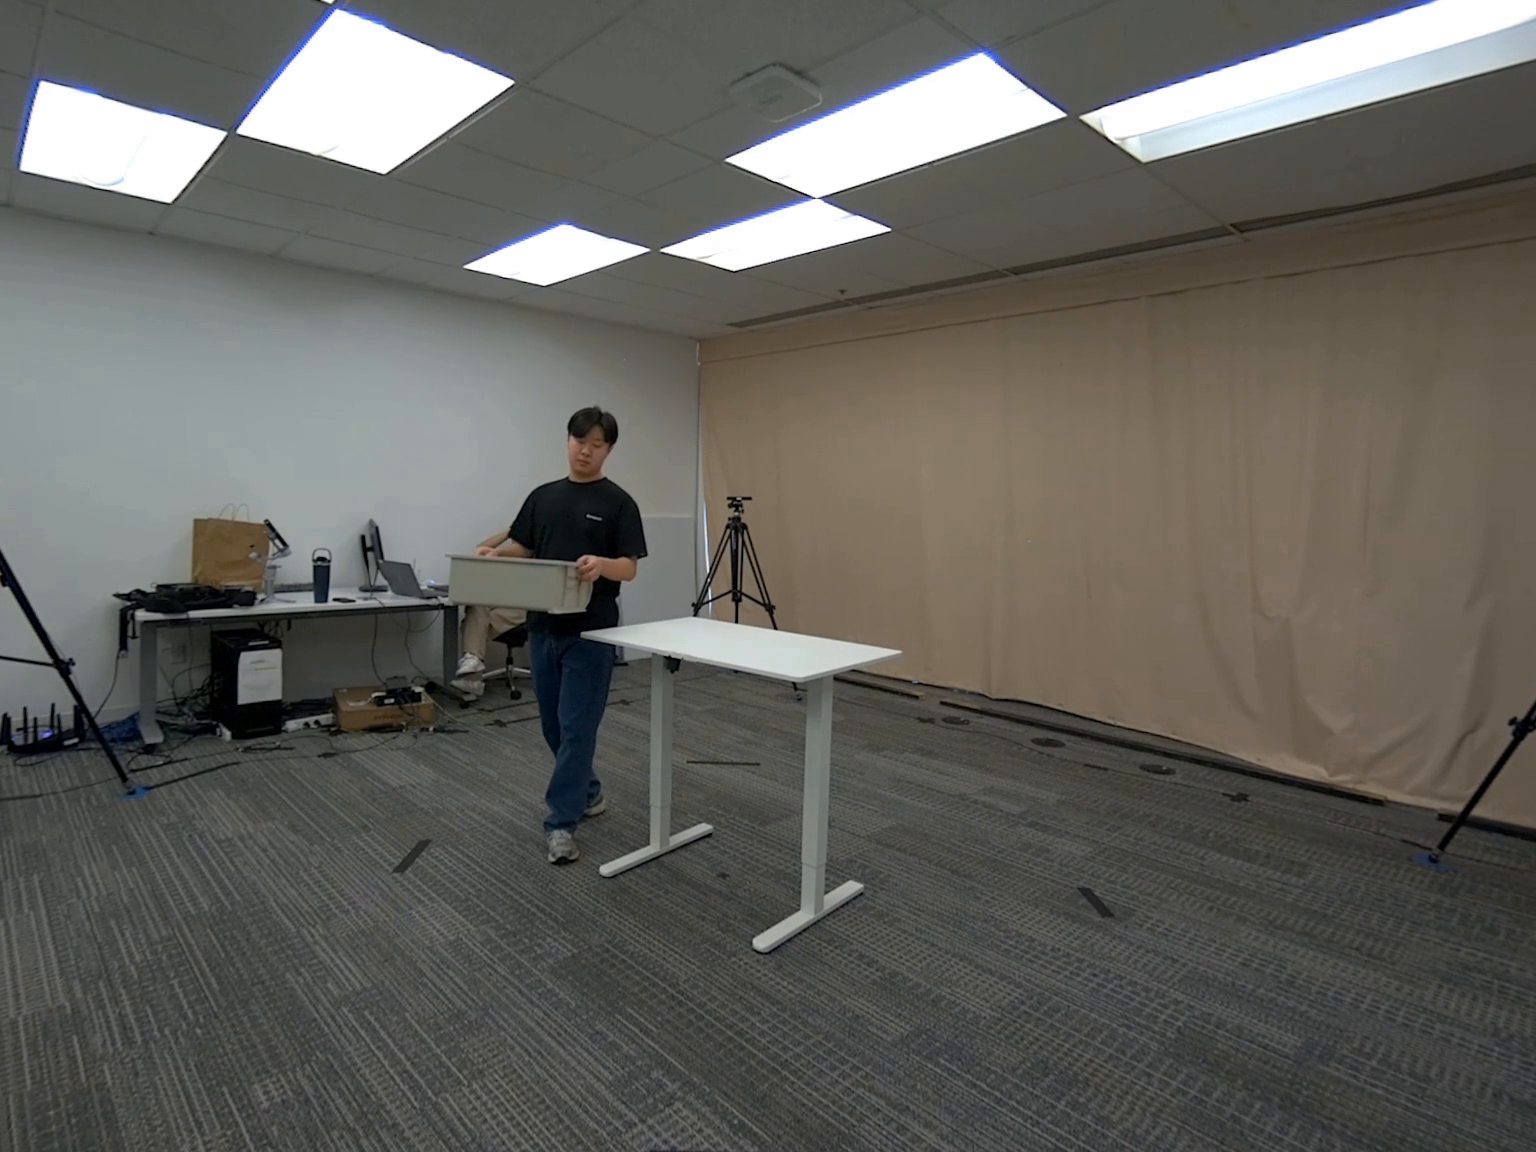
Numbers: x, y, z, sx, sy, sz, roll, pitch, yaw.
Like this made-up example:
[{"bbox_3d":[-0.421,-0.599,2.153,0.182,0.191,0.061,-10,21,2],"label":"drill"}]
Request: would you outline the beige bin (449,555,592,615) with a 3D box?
[{"bbox_3d":[-0.906,0.039,3.059,0.425,0.189,0.375,3,0,6],"label":"beige bin"}]
